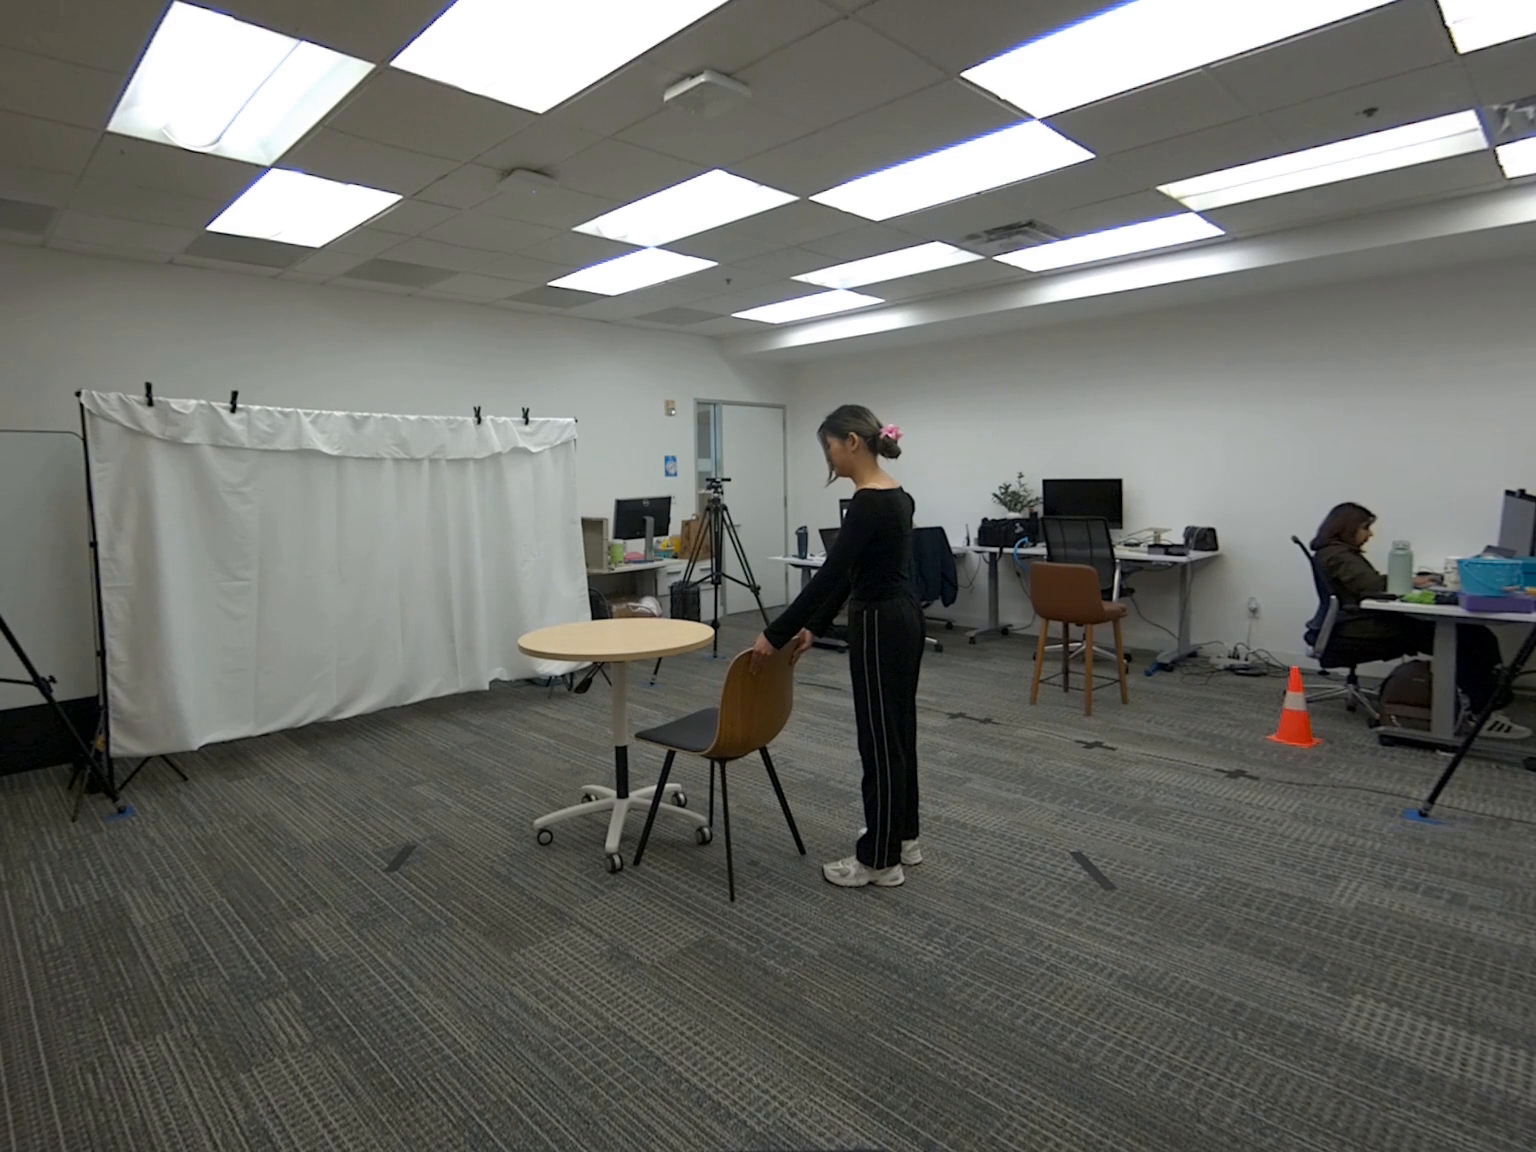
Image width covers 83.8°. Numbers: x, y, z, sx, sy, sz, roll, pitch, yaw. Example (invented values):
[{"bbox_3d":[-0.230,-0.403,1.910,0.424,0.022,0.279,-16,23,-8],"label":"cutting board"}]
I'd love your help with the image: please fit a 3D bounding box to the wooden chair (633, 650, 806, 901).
[{"bbox_3d":[-0.178,0.614,3.095,0.540,0.872,0.466,8,9,36],"label":"wooden chair"}]
